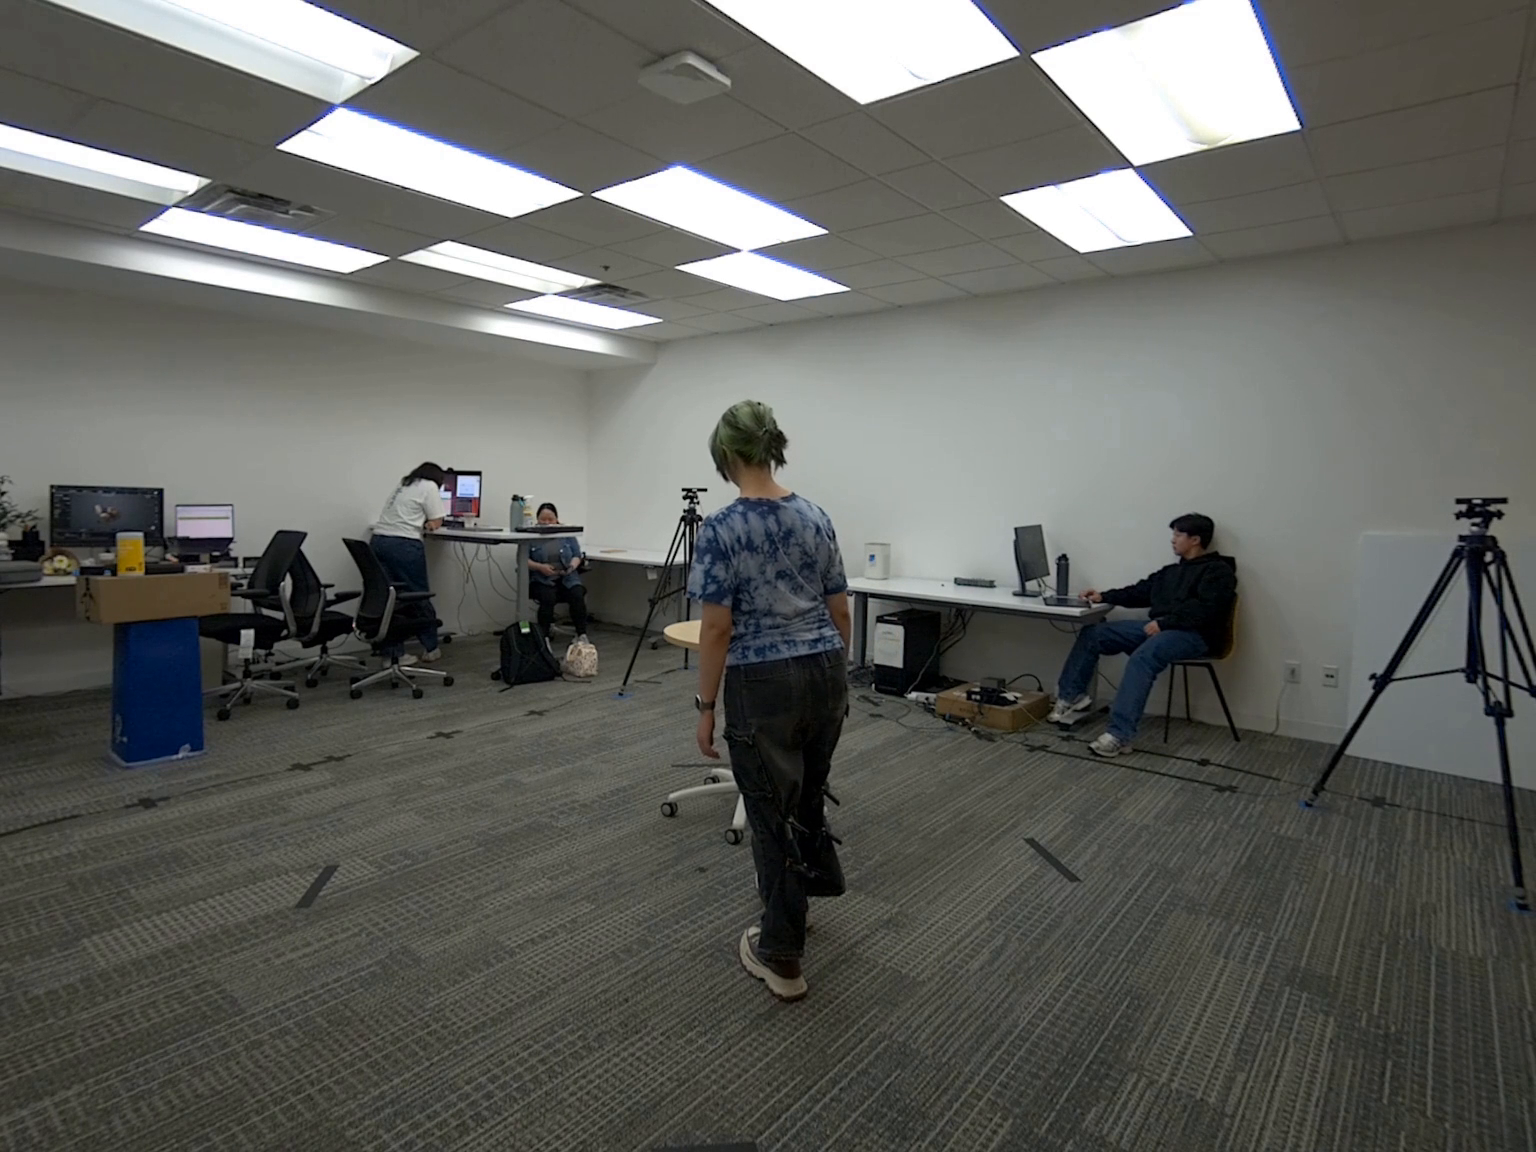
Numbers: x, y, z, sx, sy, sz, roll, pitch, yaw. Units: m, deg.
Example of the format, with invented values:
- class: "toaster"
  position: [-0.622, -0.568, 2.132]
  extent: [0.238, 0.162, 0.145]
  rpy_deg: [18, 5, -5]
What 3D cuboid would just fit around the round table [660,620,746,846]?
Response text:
- class: "round table"
  position: [-0.068, 0.625, 3.628]
  extent: [0.784, 0.784, 0.789]
  rpy_deg: [1, 4, -2]
